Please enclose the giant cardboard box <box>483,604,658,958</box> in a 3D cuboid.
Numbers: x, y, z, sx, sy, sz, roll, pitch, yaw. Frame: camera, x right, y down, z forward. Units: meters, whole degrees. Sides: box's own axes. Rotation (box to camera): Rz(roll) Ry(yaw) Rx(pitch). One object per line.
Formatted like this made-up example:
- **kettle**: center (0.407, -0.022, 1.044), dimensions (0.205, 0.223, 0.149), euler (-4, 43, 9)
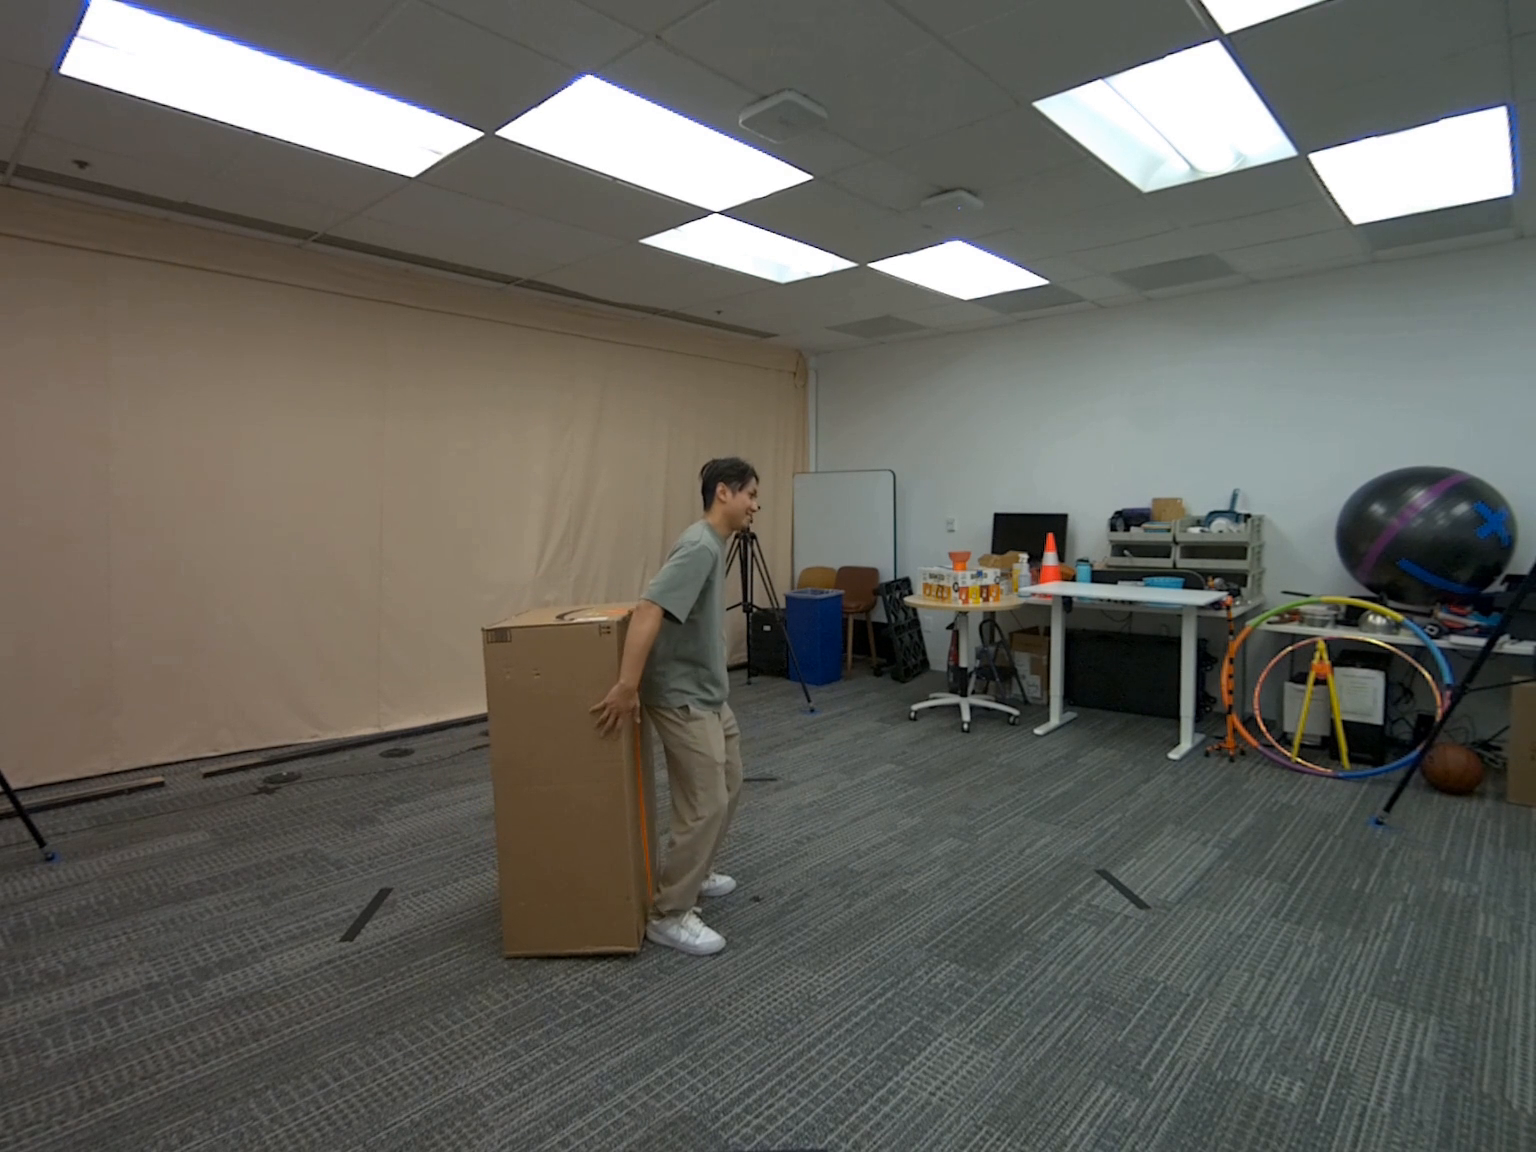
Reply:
- **giant cardboard box**: center (-0.643, 0.645, 2.843), dimensions (0.427, 1.025, 0.577), euler (-4, 1, 0)
